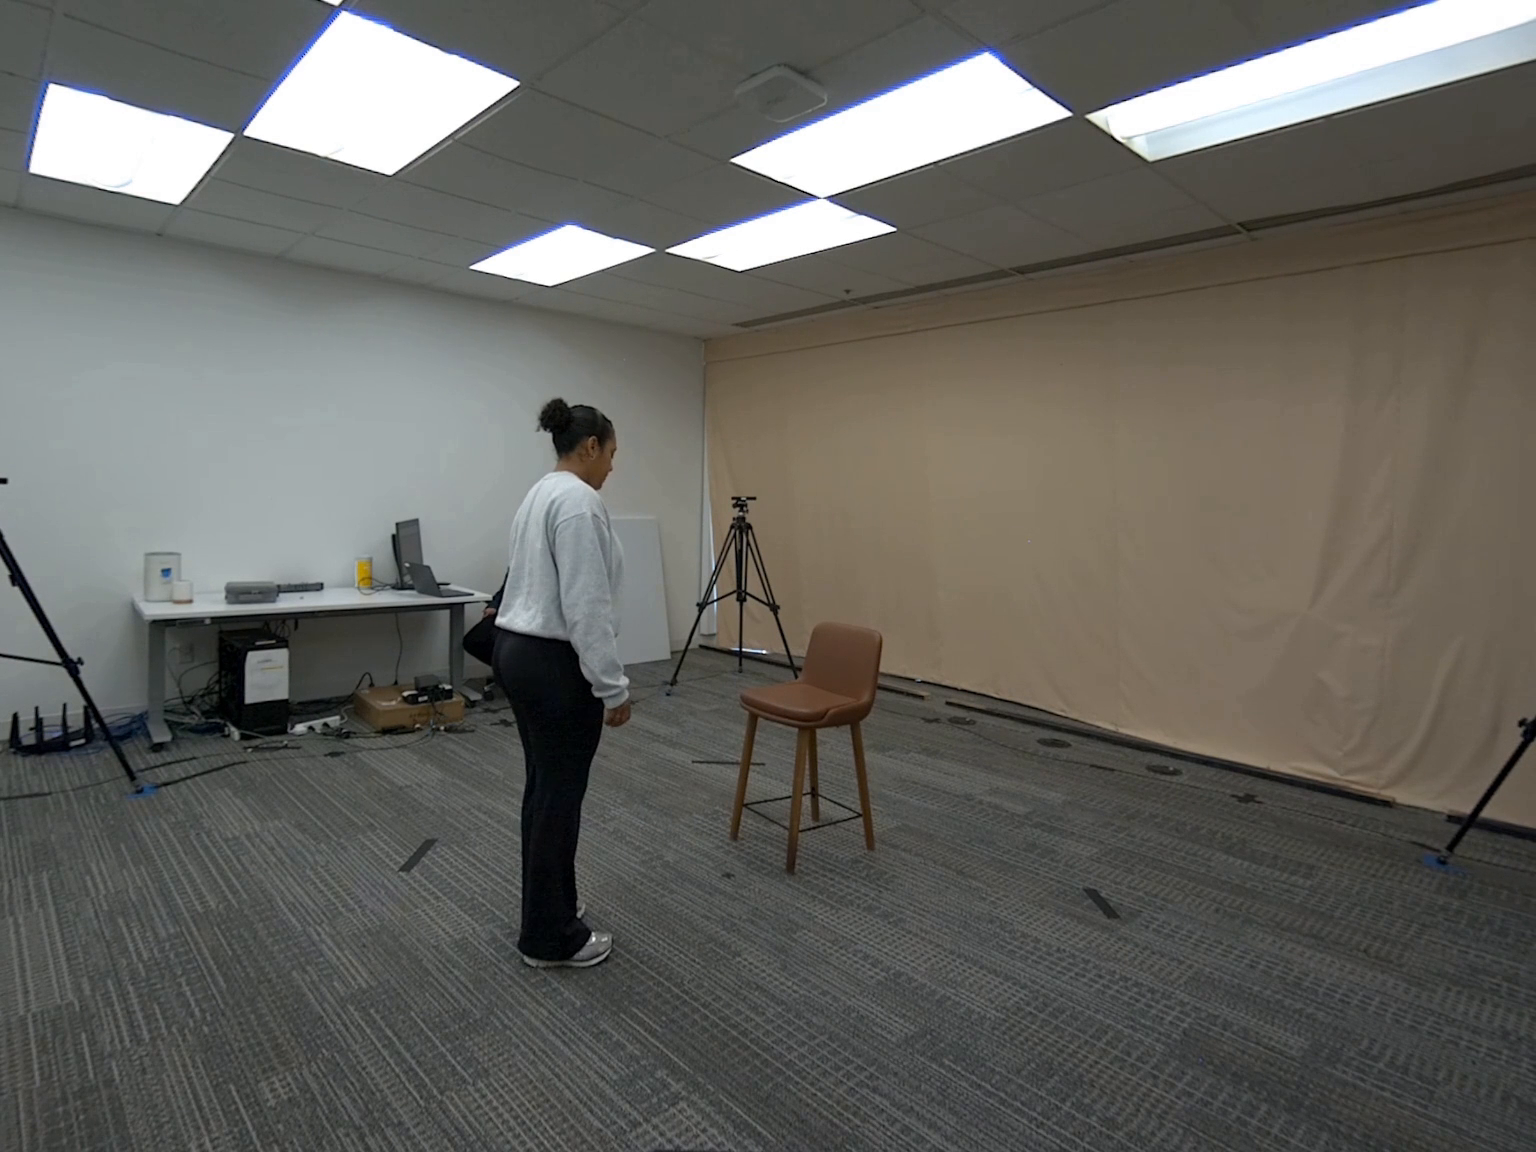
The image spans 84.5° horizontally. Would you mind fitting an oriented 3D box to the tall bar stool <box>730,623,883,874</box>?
[{"bbox_3d":[0.152,0.653,3.391,0.457,0.889,0.467,2,2,-35],"label":"tall bar stool"}]
